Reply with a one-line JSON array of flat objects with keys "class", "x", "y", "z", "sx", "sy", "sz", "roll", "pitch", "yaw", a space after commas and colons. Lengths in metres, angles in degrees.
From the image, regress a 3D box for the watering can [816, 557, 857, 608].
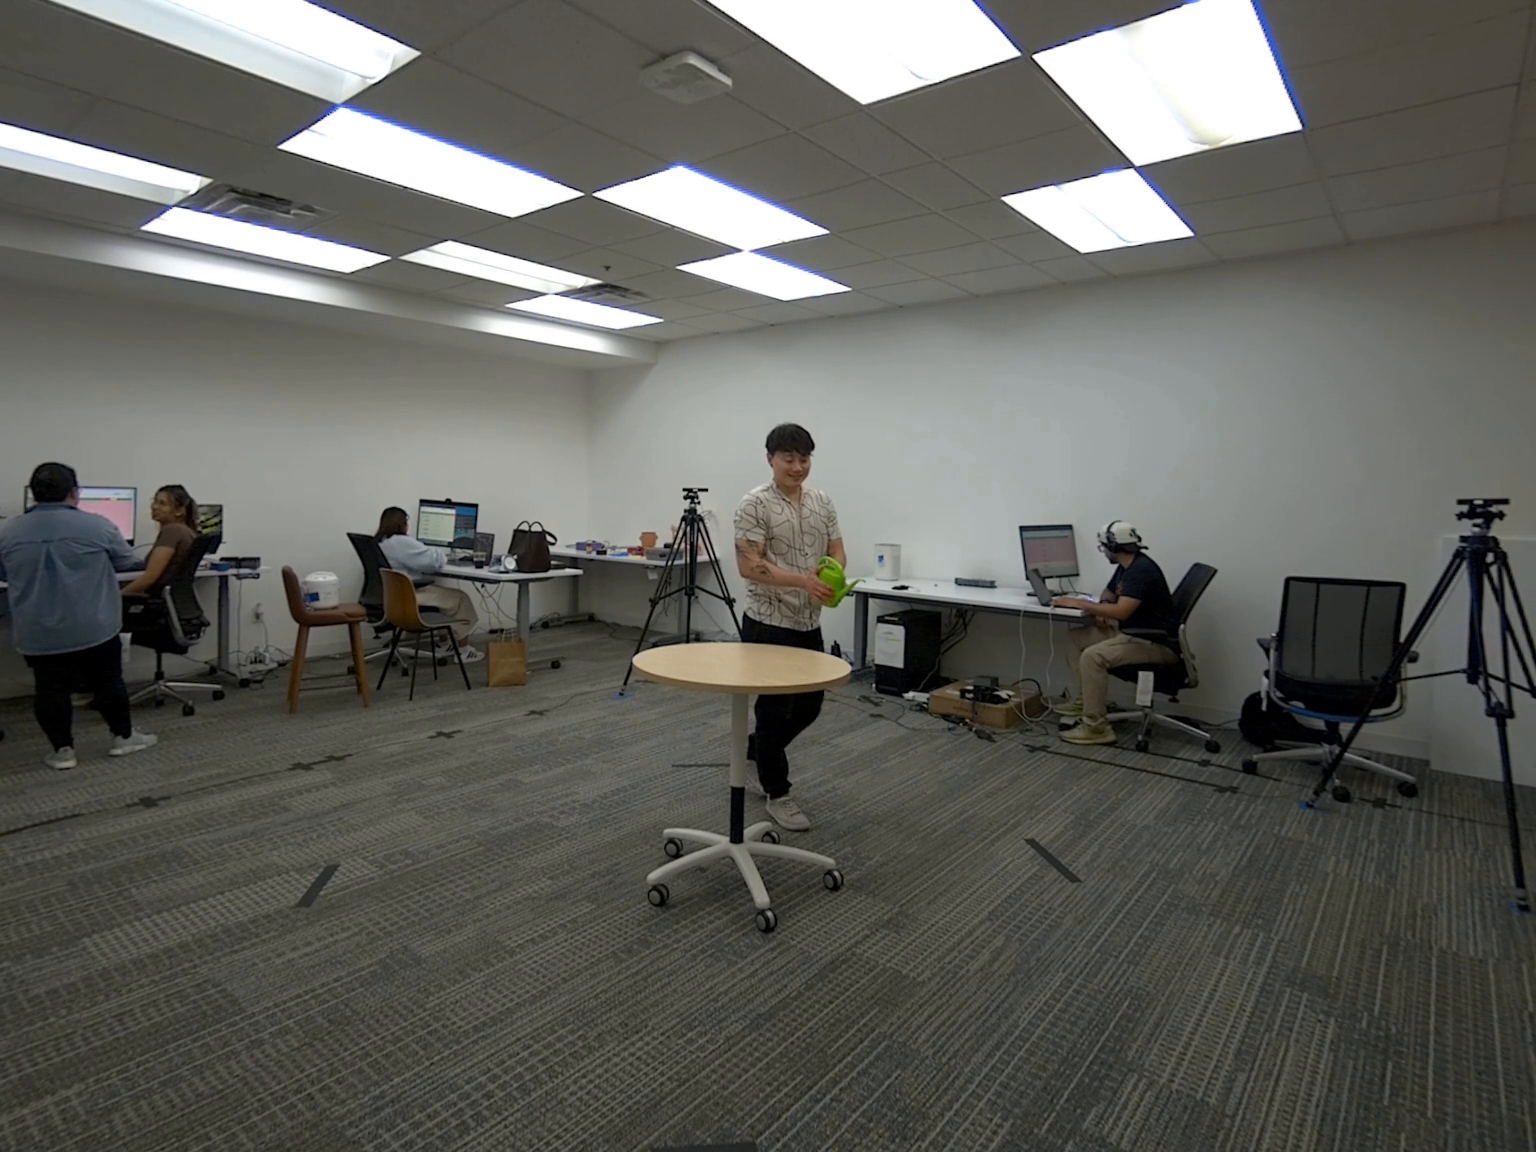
[{"class": "watering can", "x": 0.239, "y": 0.040, "z": 3.344, "sx": 0.096, "sy": 0.175, "sz": 0.287, "roll": 9, "pitch": 19, "yaw": -20}]
